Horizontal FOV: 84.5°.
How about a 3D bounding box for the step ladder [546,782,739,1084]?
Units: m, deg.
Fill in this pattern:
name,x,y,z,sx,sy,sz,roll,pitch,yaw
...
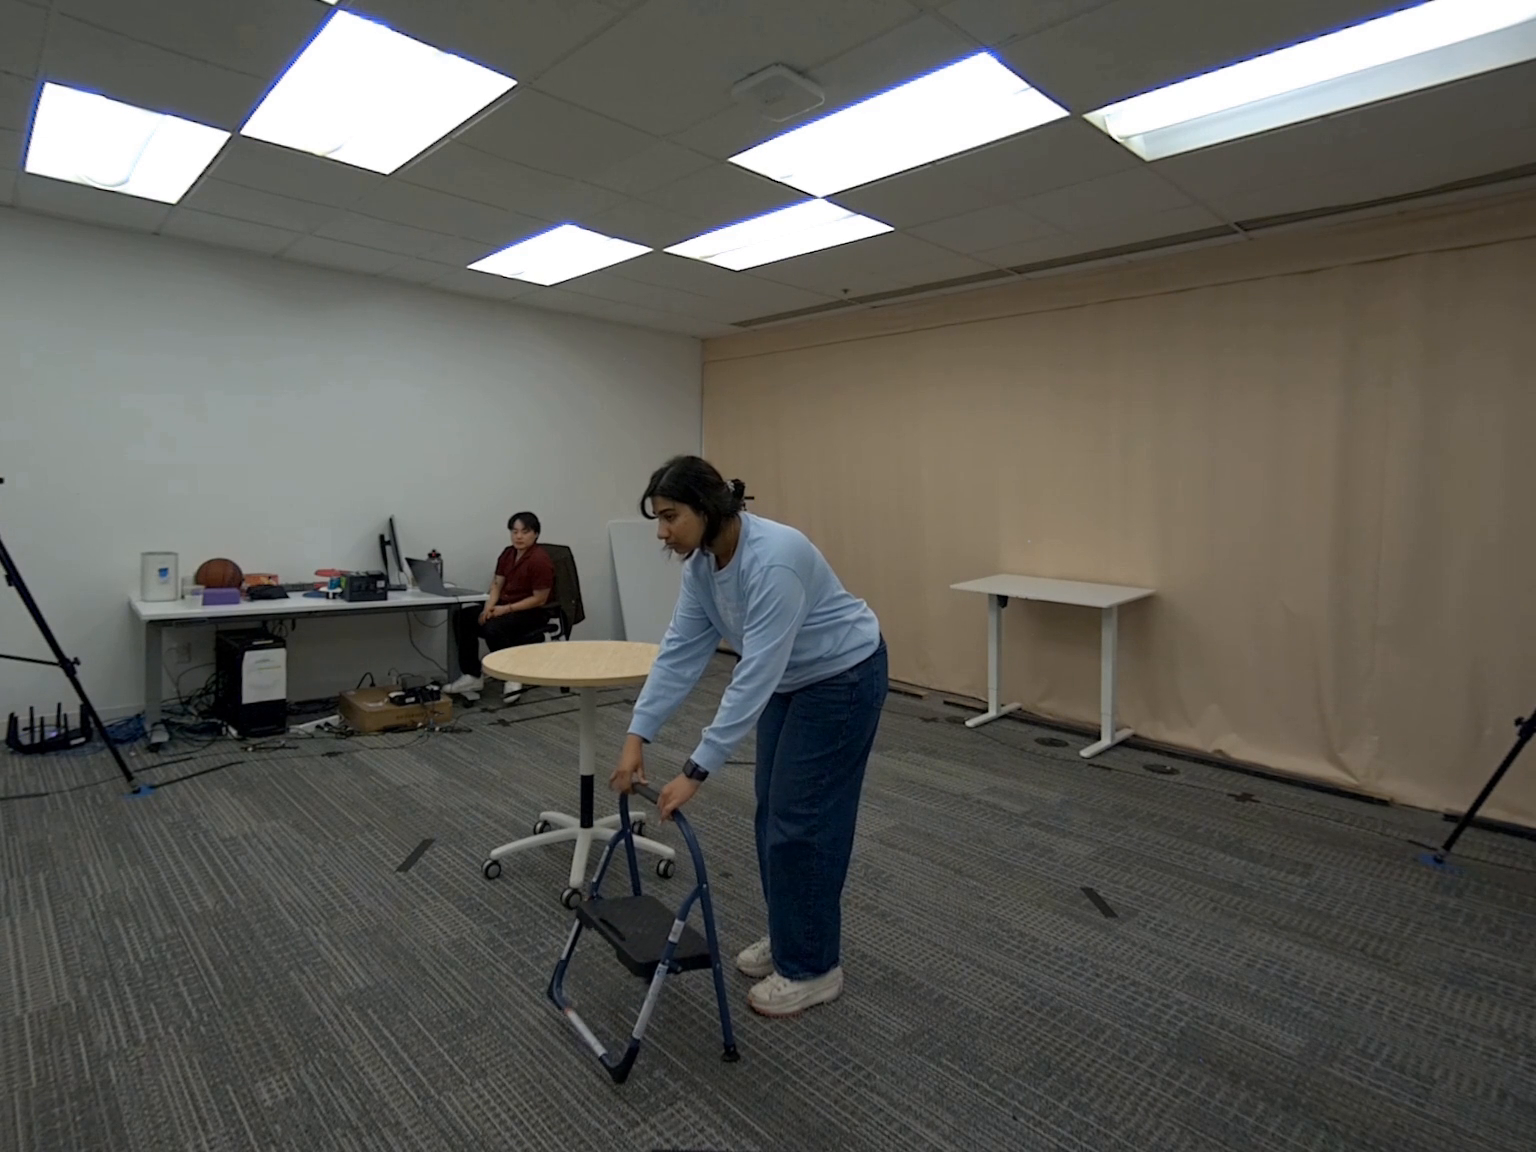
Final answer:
name,x,y,z,sx,sy,sz,roll,pitch,yaw
step ladder,-0.294,0.864,2.168,0.340,0.607,0.441,11,-2,-38
